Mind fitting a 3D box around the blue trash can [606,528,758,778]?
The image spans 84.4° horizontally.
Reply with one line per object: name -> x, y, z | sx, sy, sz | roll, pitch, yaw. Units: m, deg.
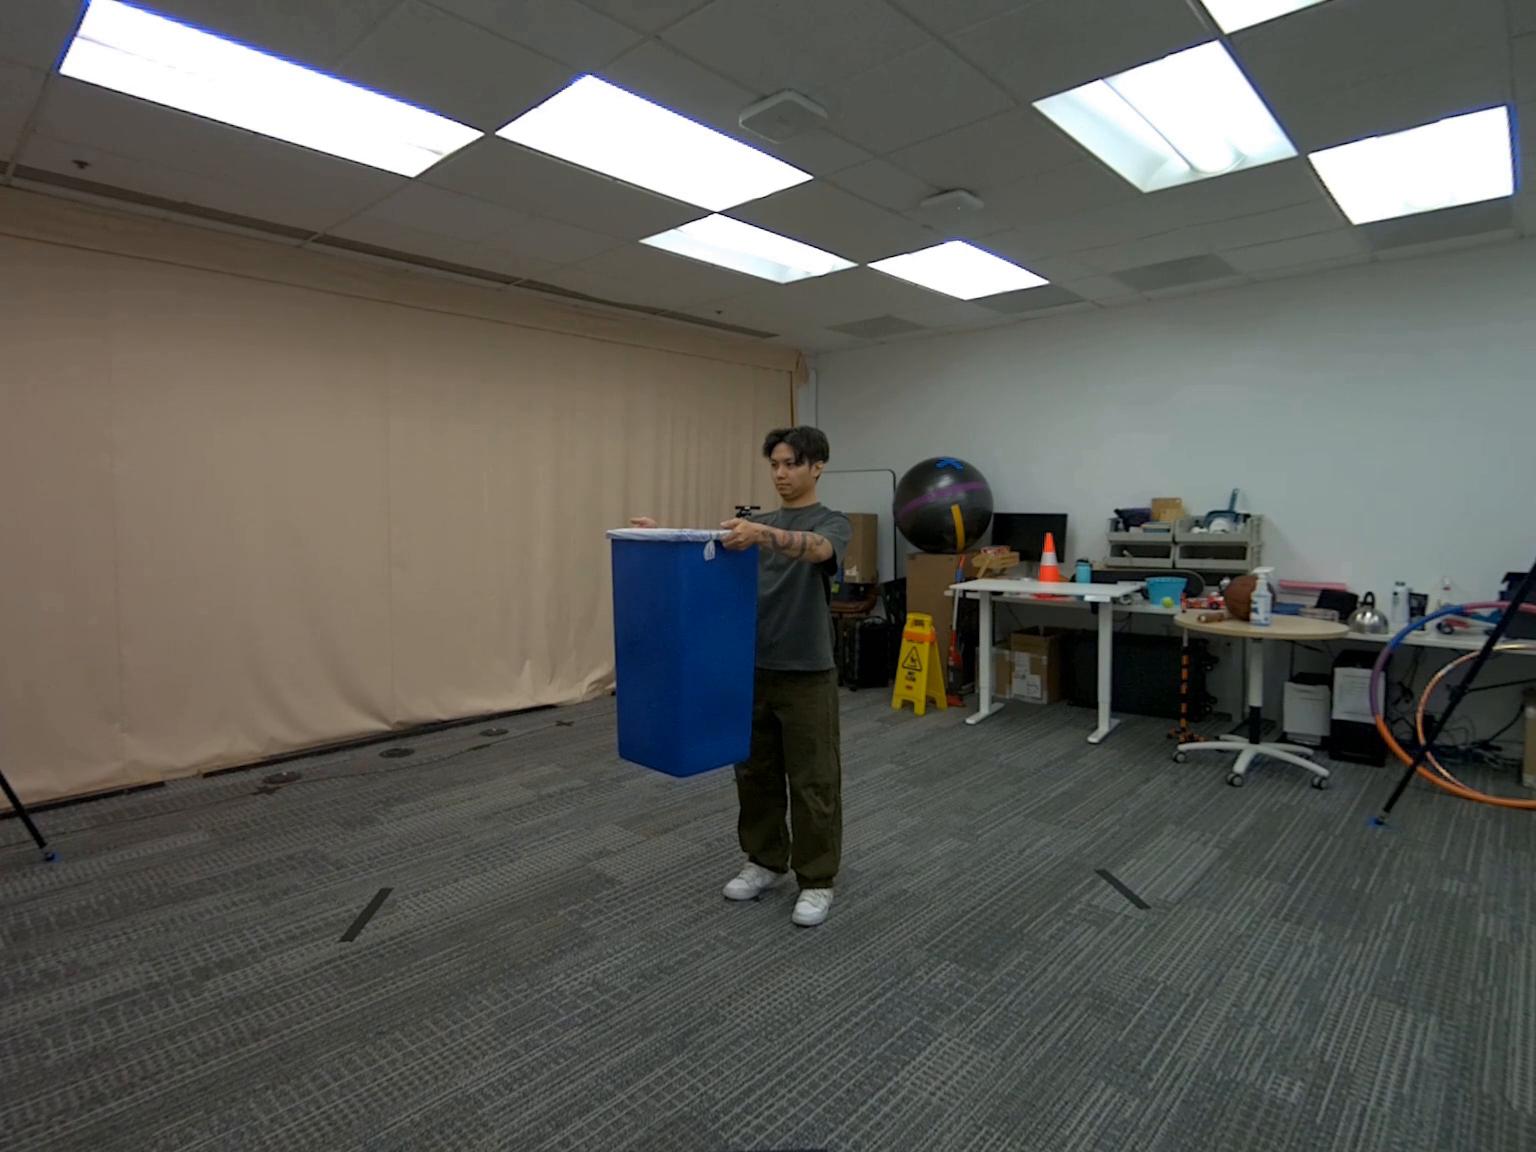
blue trash can -> -0.260, 0.221, 2.619 | 0.390, 0.713, 0.362 | 2, 2, 42
